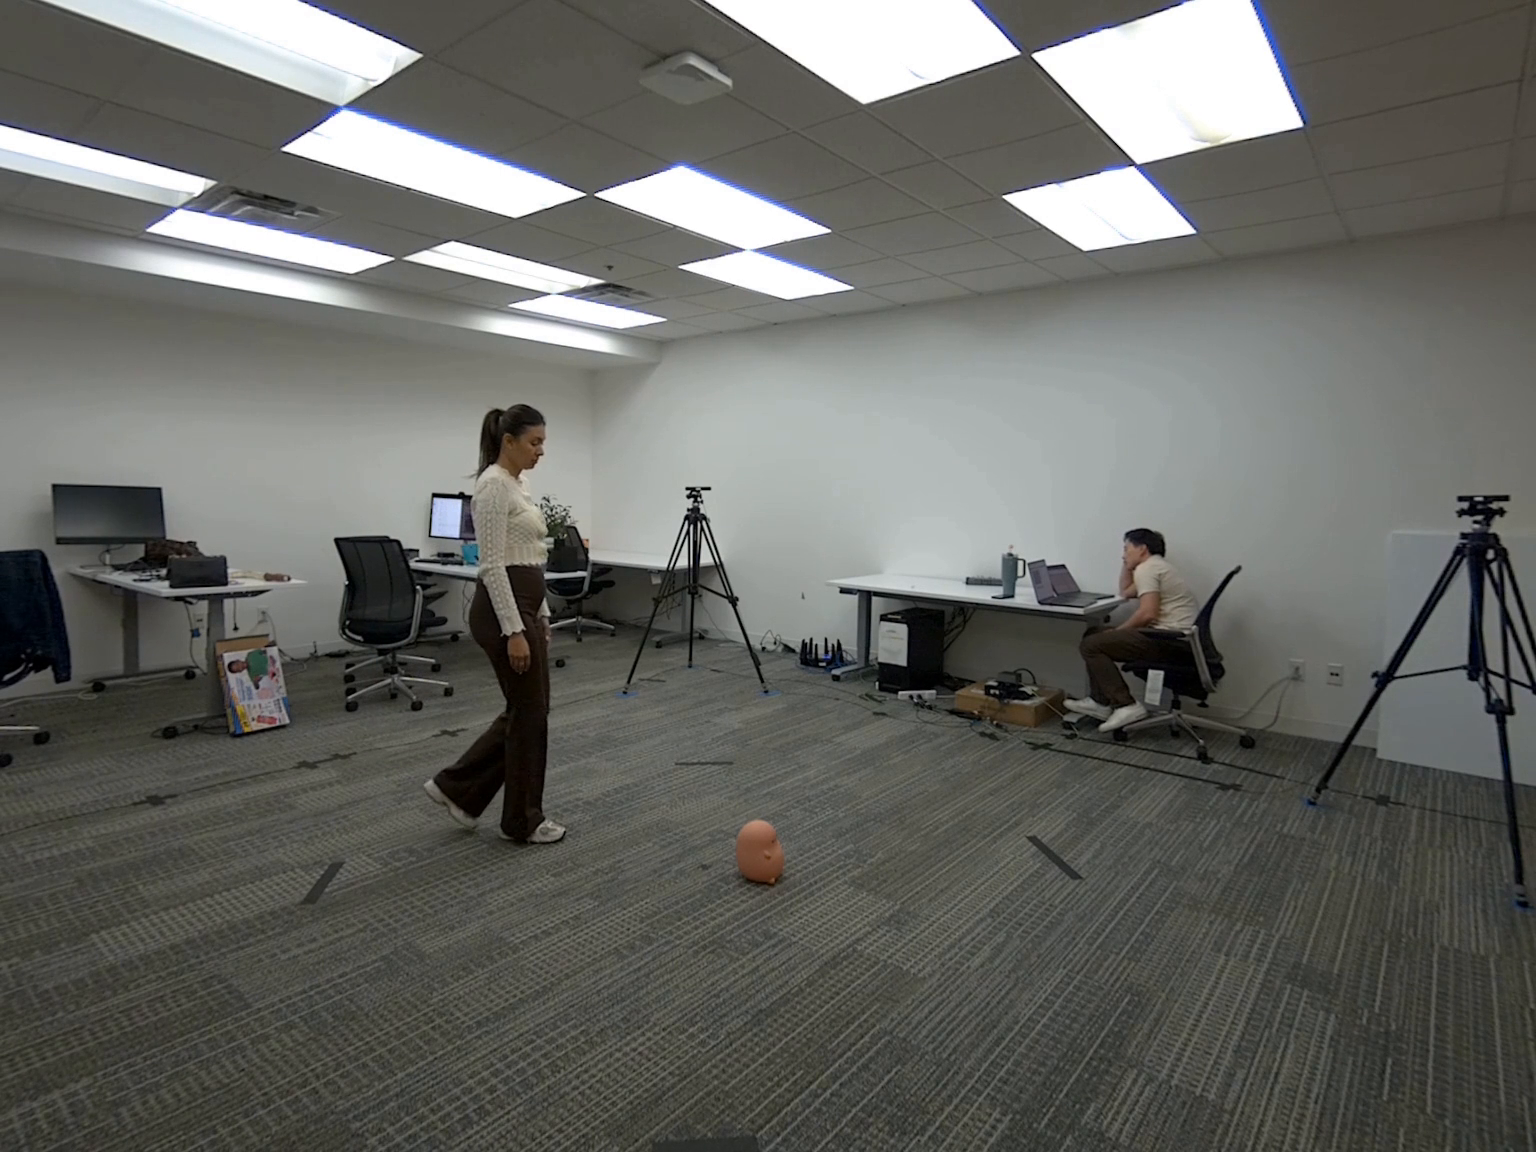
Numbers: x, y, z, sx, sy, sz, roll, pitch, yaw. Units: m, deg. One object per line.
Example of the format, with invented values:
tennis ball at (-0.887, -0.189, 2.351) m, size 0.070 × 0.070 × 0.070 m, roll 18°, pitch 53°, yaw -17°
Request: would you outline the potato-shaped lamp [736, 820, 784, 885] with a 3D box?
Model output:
potato-shaped lamp at (-0.034, 0.975, 3.051) m, size 0.176 × 0.197 × 0.161 m, roll 1°, pitch 6°, yaw 24°
